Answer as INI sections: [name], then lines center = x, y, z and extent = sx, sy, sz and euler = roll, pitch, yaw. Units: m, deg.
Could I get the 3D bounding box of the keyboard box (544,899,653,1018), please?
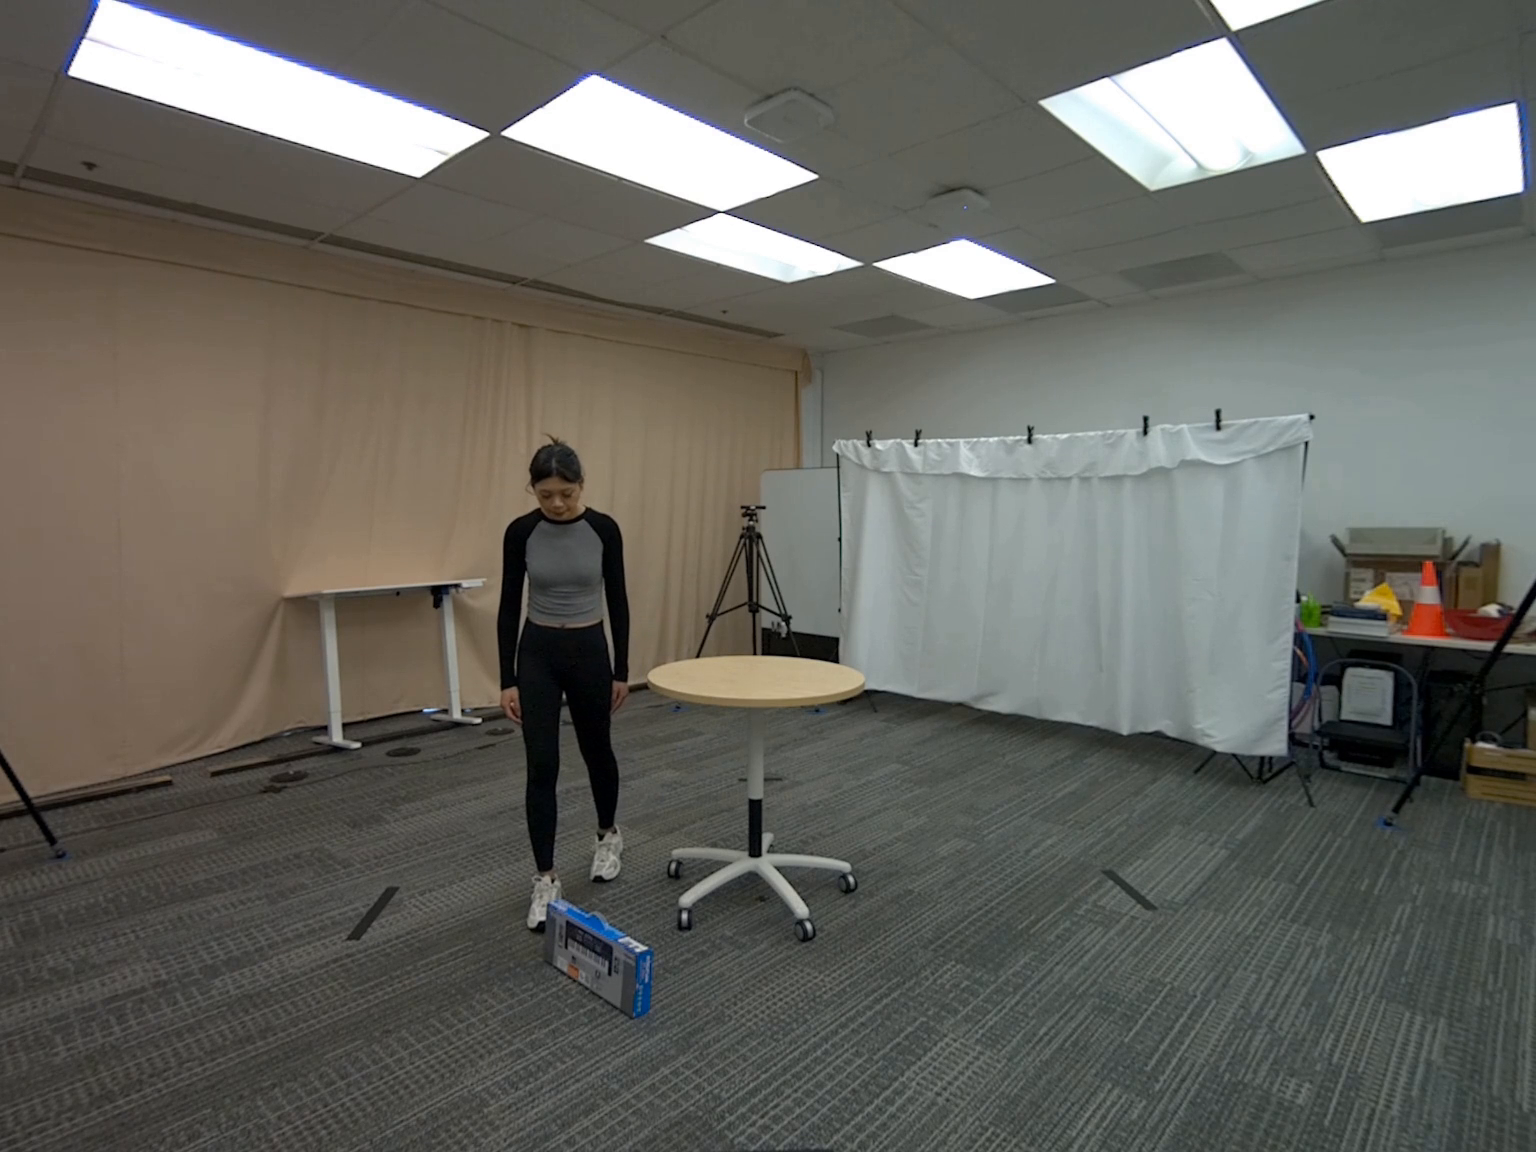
[keyboard box]
center = -0.503, 1.106, 2.449
extent = 0.451, 0.176, 0.057
euler = 4, -1, 43
